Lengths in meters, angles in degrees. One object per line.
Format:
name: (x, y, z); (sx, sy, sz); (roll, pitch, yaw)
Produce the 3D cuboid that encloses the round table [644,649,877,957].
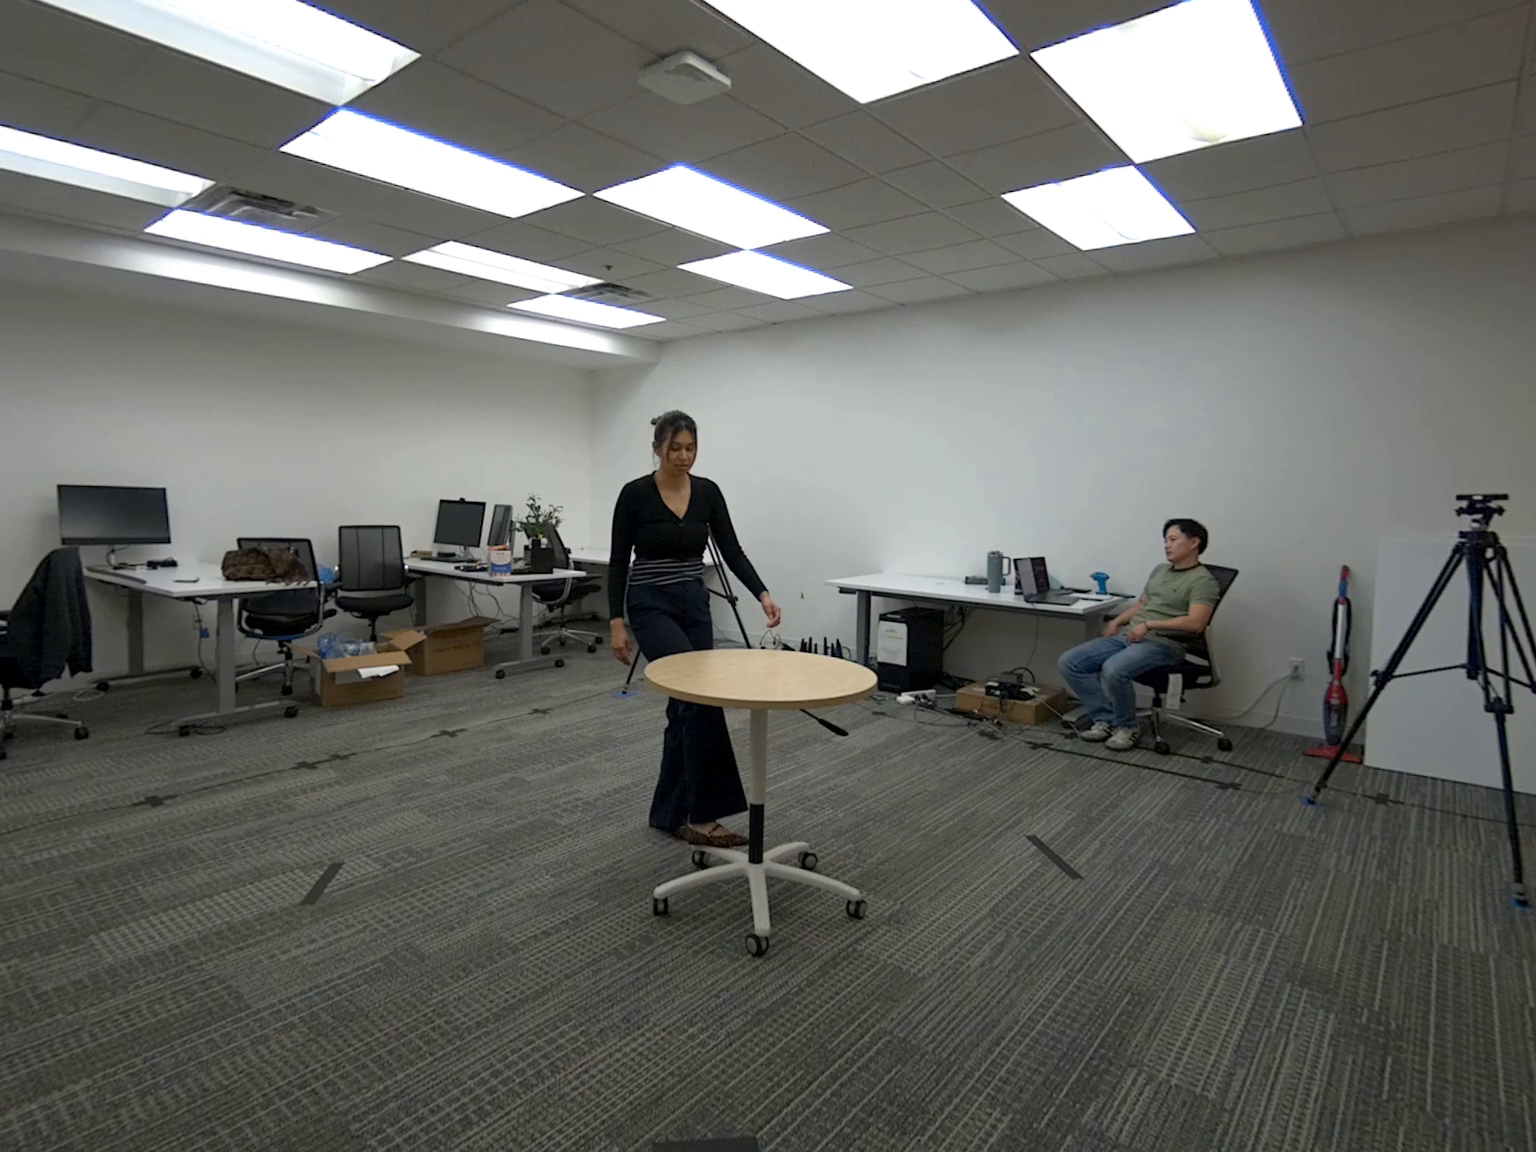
round table: (-0.039, 0.707, 2.841); (0.763, 0.791, 0.768); (1, 5, -2)
